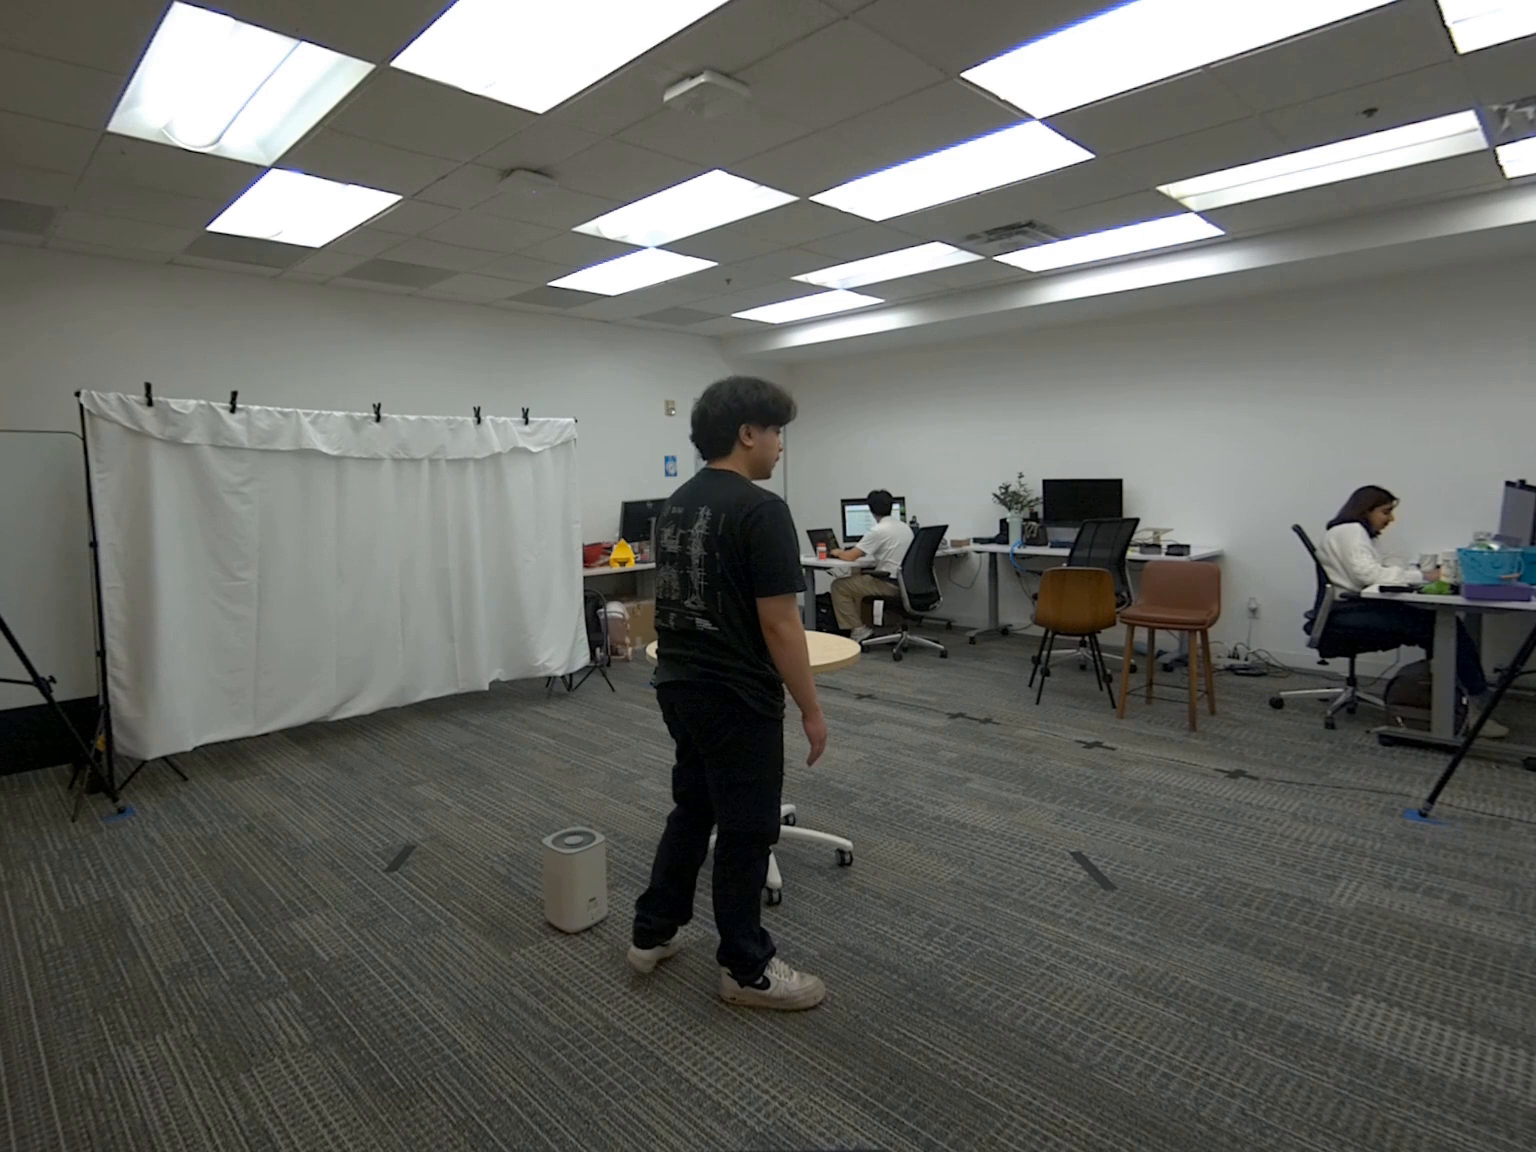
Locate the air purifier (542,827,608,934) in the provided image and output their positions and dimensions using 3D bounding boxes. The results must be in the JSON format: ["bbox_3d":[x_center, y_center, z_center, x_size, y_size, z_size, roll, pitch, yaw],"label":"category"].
[{"bbox_3d":[-0.609,0.959,2.706,0.177,0.264,0.167,3,7,43],"label":"air purifier"}]
